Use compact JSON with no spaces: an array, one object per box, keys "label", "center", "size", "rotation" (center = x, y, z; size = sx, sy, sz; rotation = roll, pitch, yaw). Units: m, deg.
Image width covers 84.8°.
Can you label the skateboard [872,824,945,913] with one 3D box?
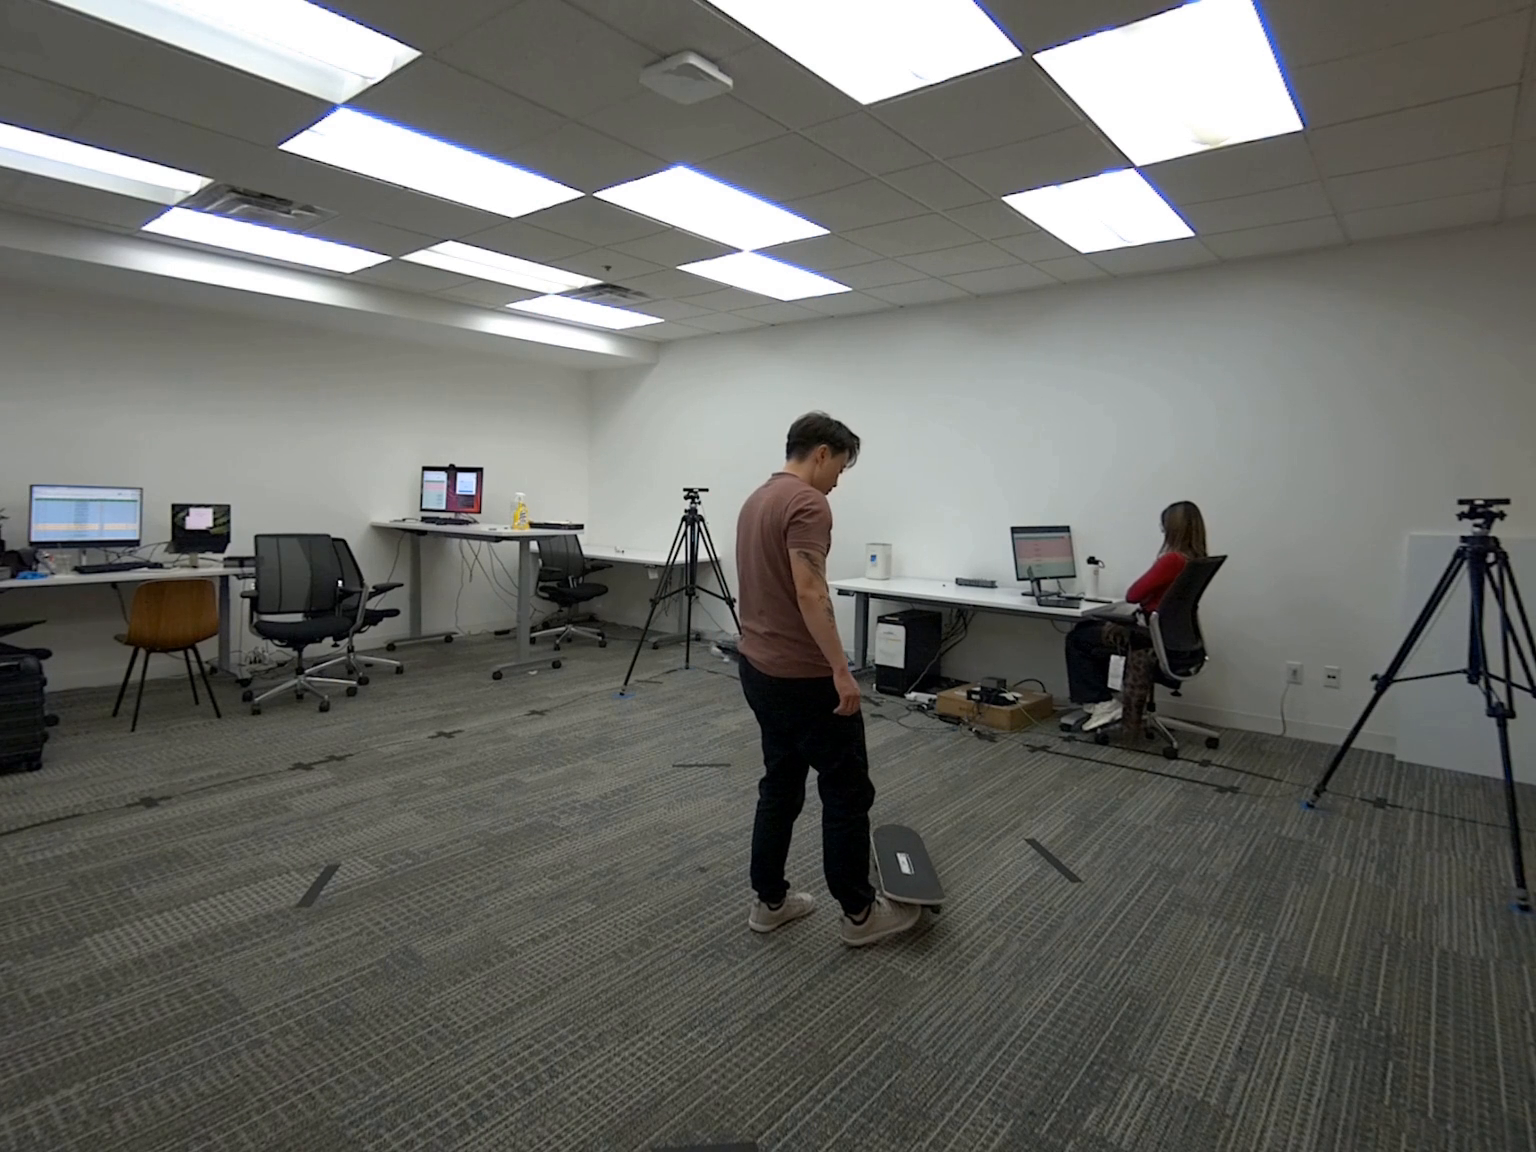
[{"label":"skateboard","center":[0.471,1.028,2.953],"size":[0.194,0.110,0.781],"rotation":[1,1,3]}]
